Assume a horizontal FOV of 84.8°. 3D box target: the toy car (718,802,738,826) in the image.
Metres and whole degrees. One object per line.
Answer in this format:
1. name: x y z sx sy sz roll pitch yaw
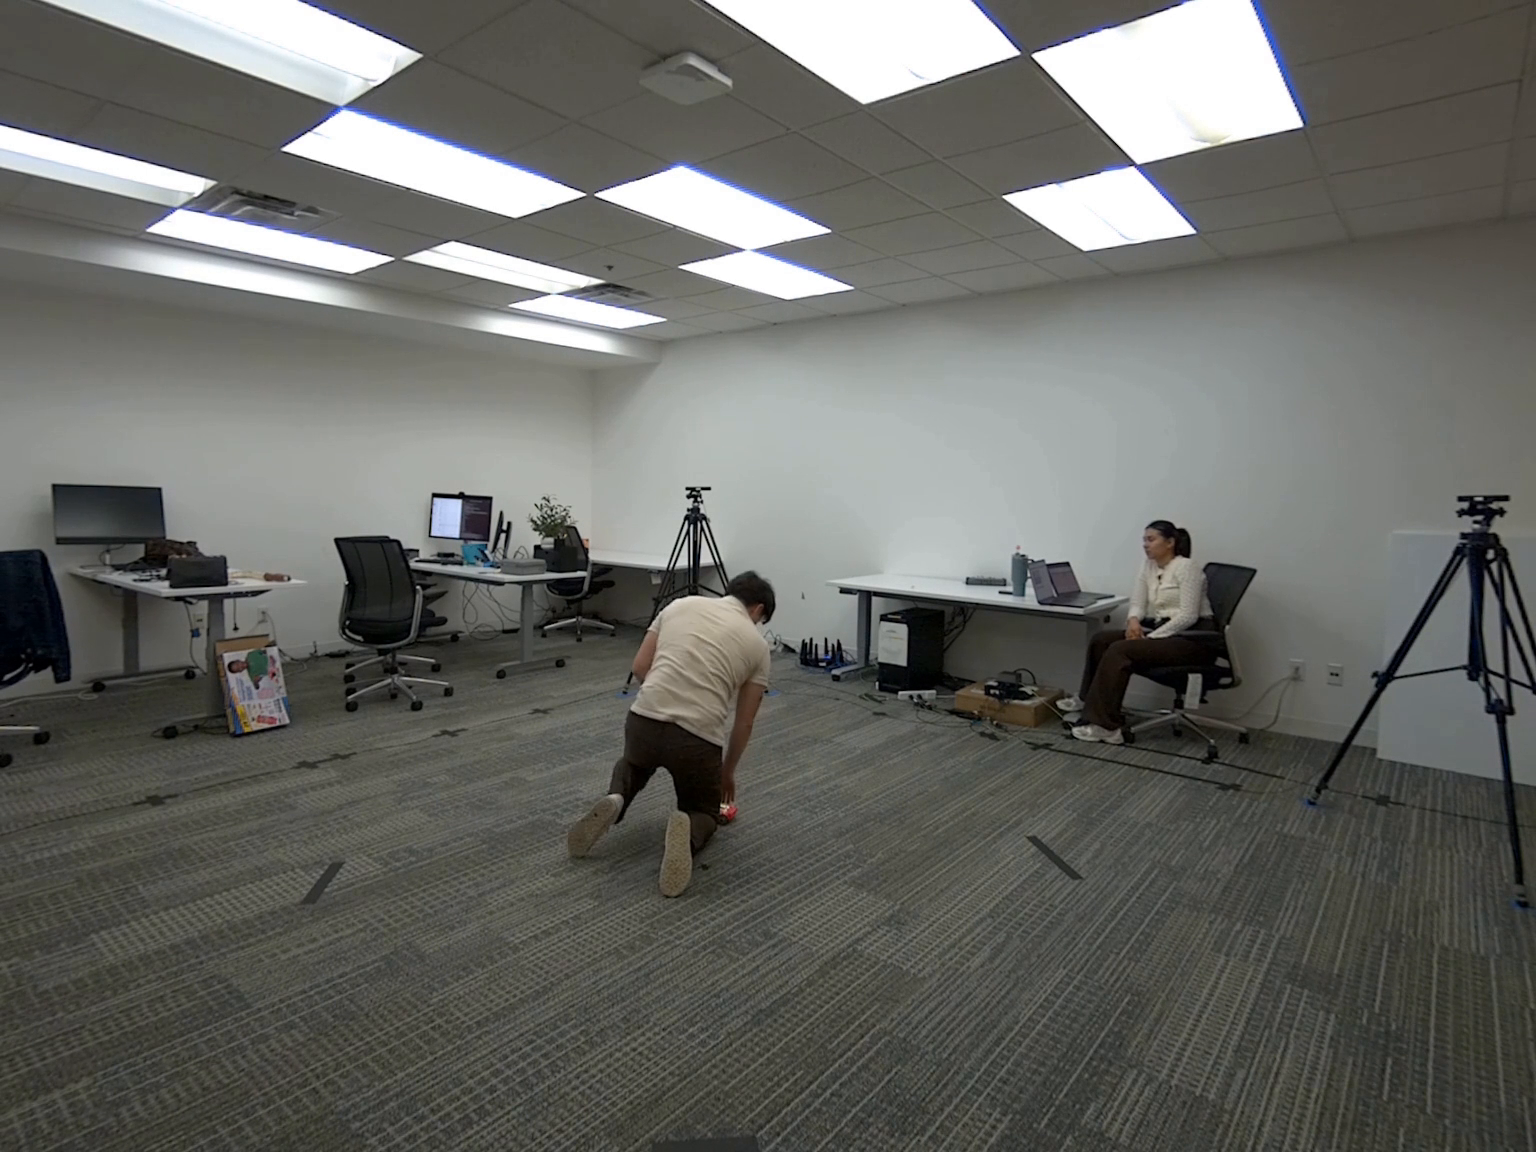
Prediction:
1. toy car: -0.273 0.982 3.594 0.261 0.083 0.128 16 8 18
